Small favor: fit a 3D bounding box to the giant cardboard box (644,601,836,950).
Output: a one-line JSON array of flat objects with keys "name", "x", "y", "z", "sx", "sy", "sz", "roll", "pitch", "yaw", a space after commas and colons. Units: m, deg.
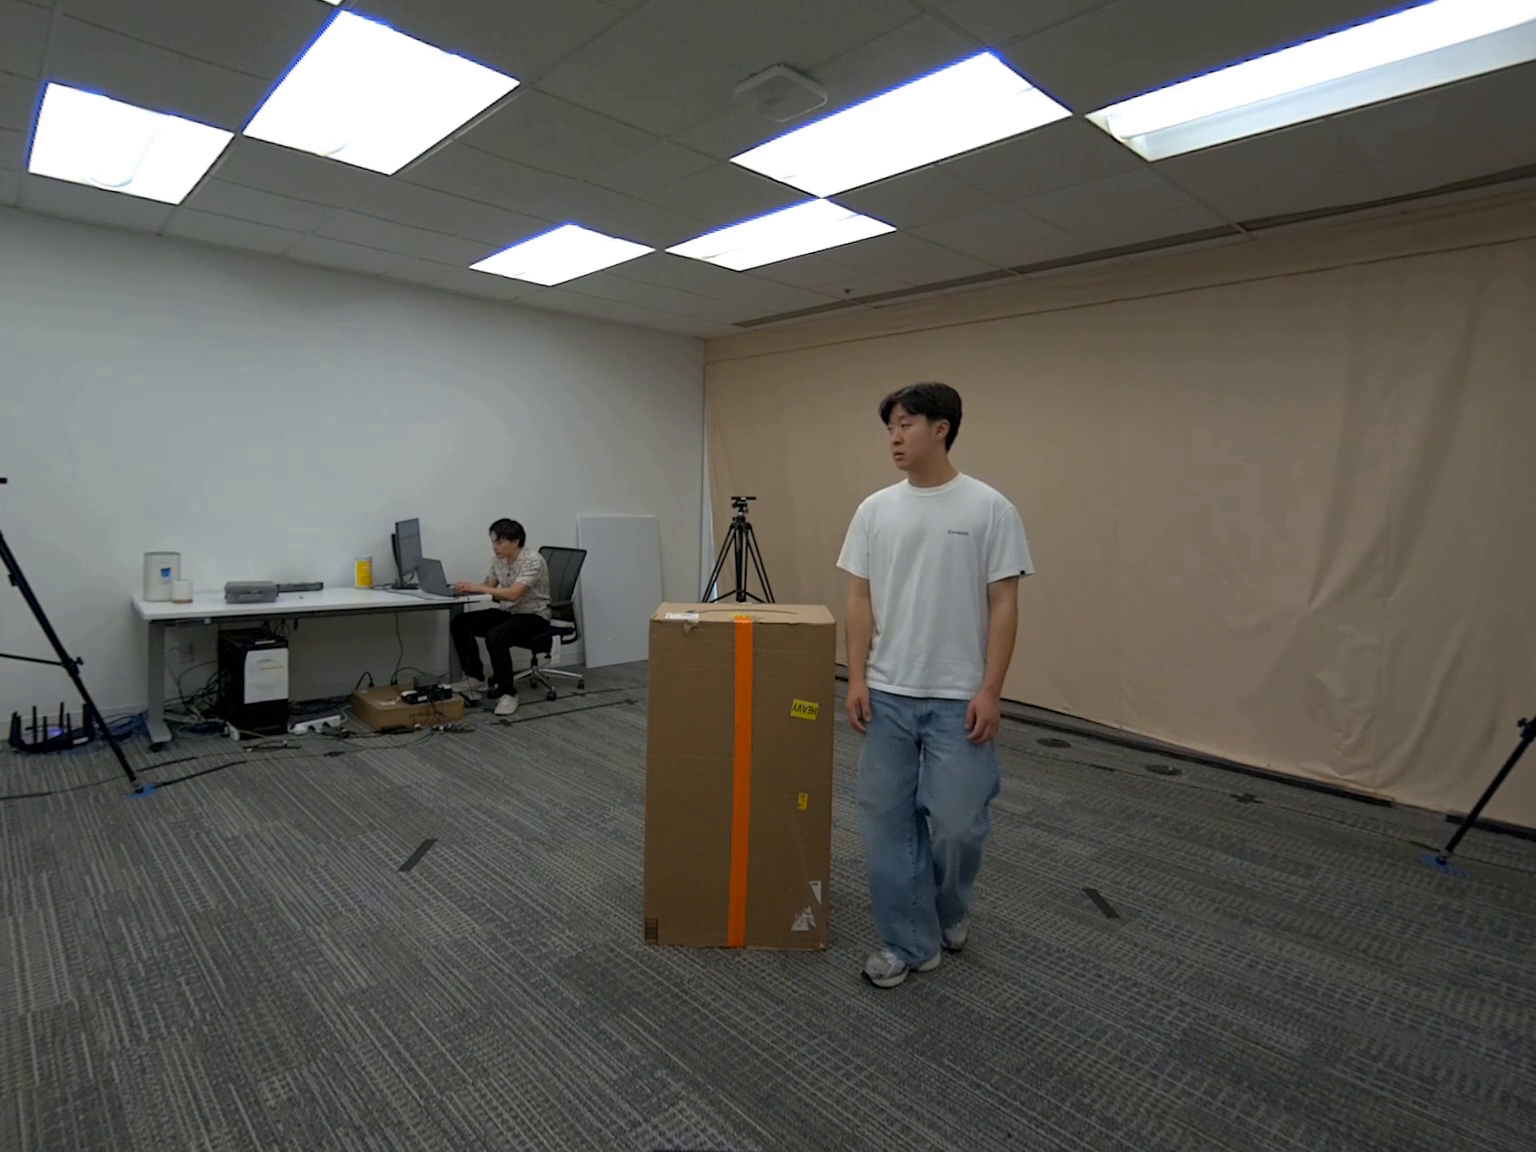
[{"name": "giant cardboard box", "x": -0.100, "y": 0.627, "z": 2.788, "sx": 0.578, "sy": 1.023, "sz": 0.427, "roll": 2, "pitch": 3, "yaw": 0}]
